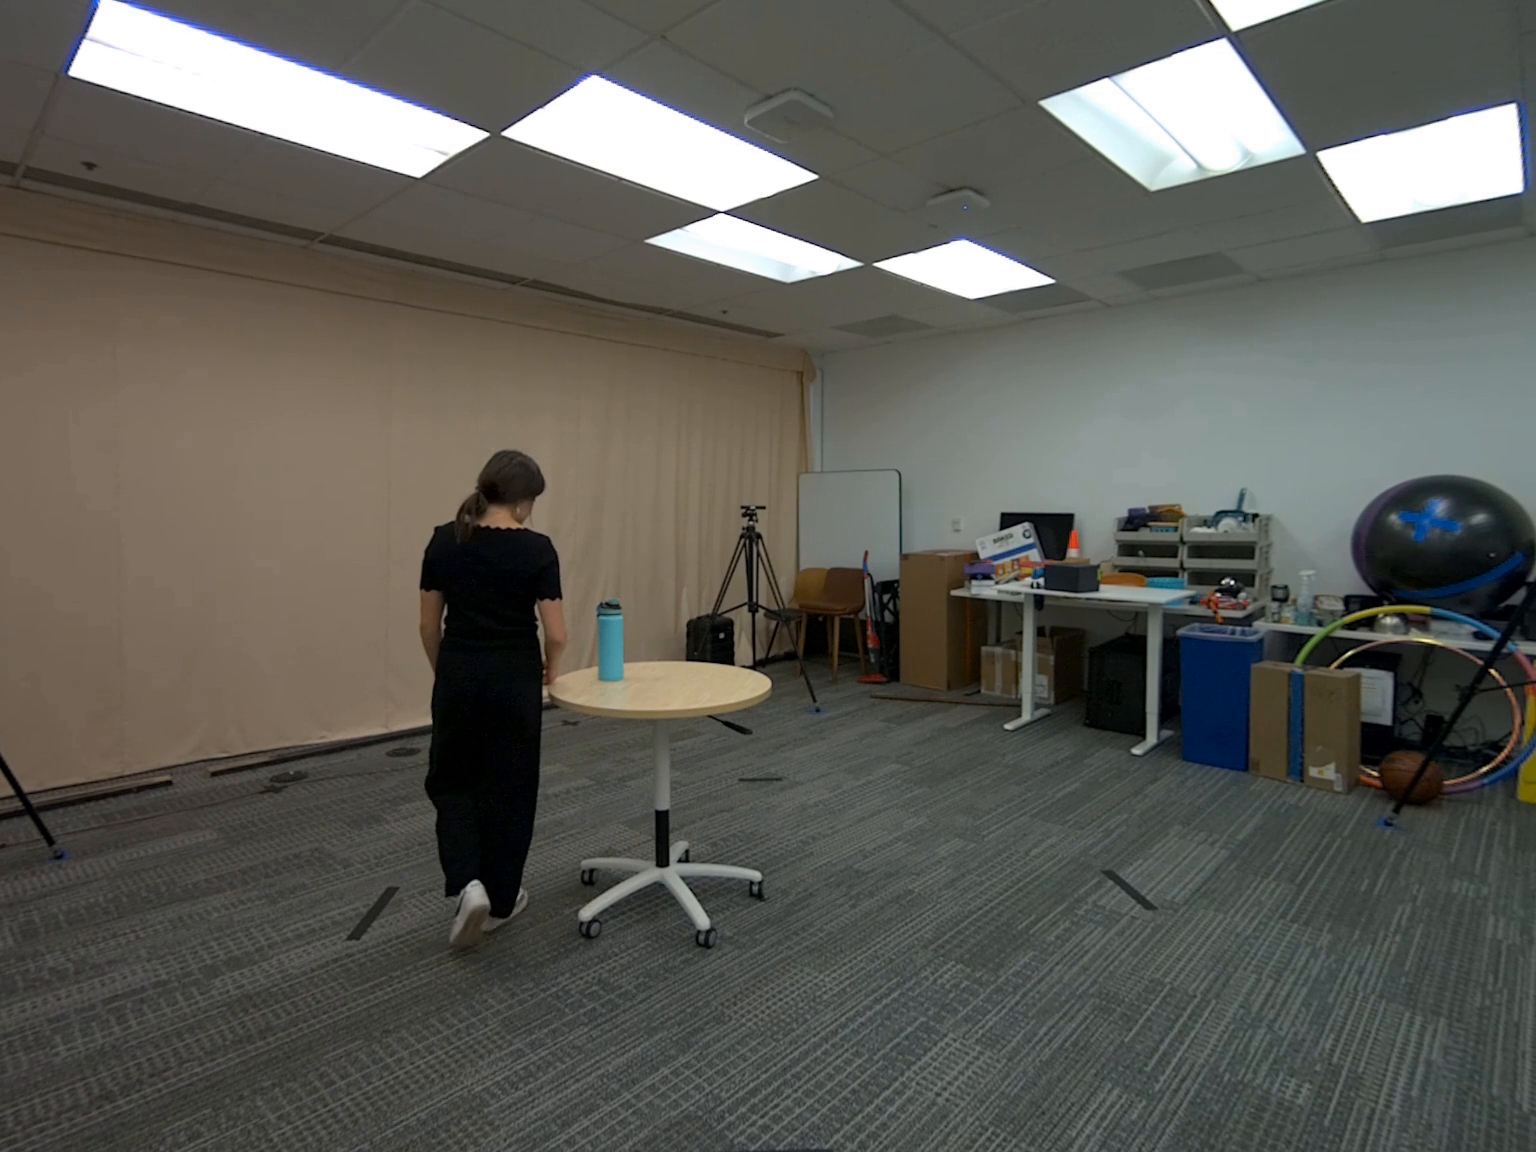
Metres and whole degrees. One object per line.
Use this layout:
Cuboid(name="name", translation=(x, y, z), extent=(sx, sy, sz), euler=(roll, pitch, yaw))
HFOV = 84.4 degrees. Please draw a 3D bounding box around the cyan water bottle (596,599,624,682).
Cuboid(name="cyan water bottle", translation=(-0.551, 0.221, 2.971), extent=(0.092, 0.283, 0.092), euler=(0, 1, -2))
